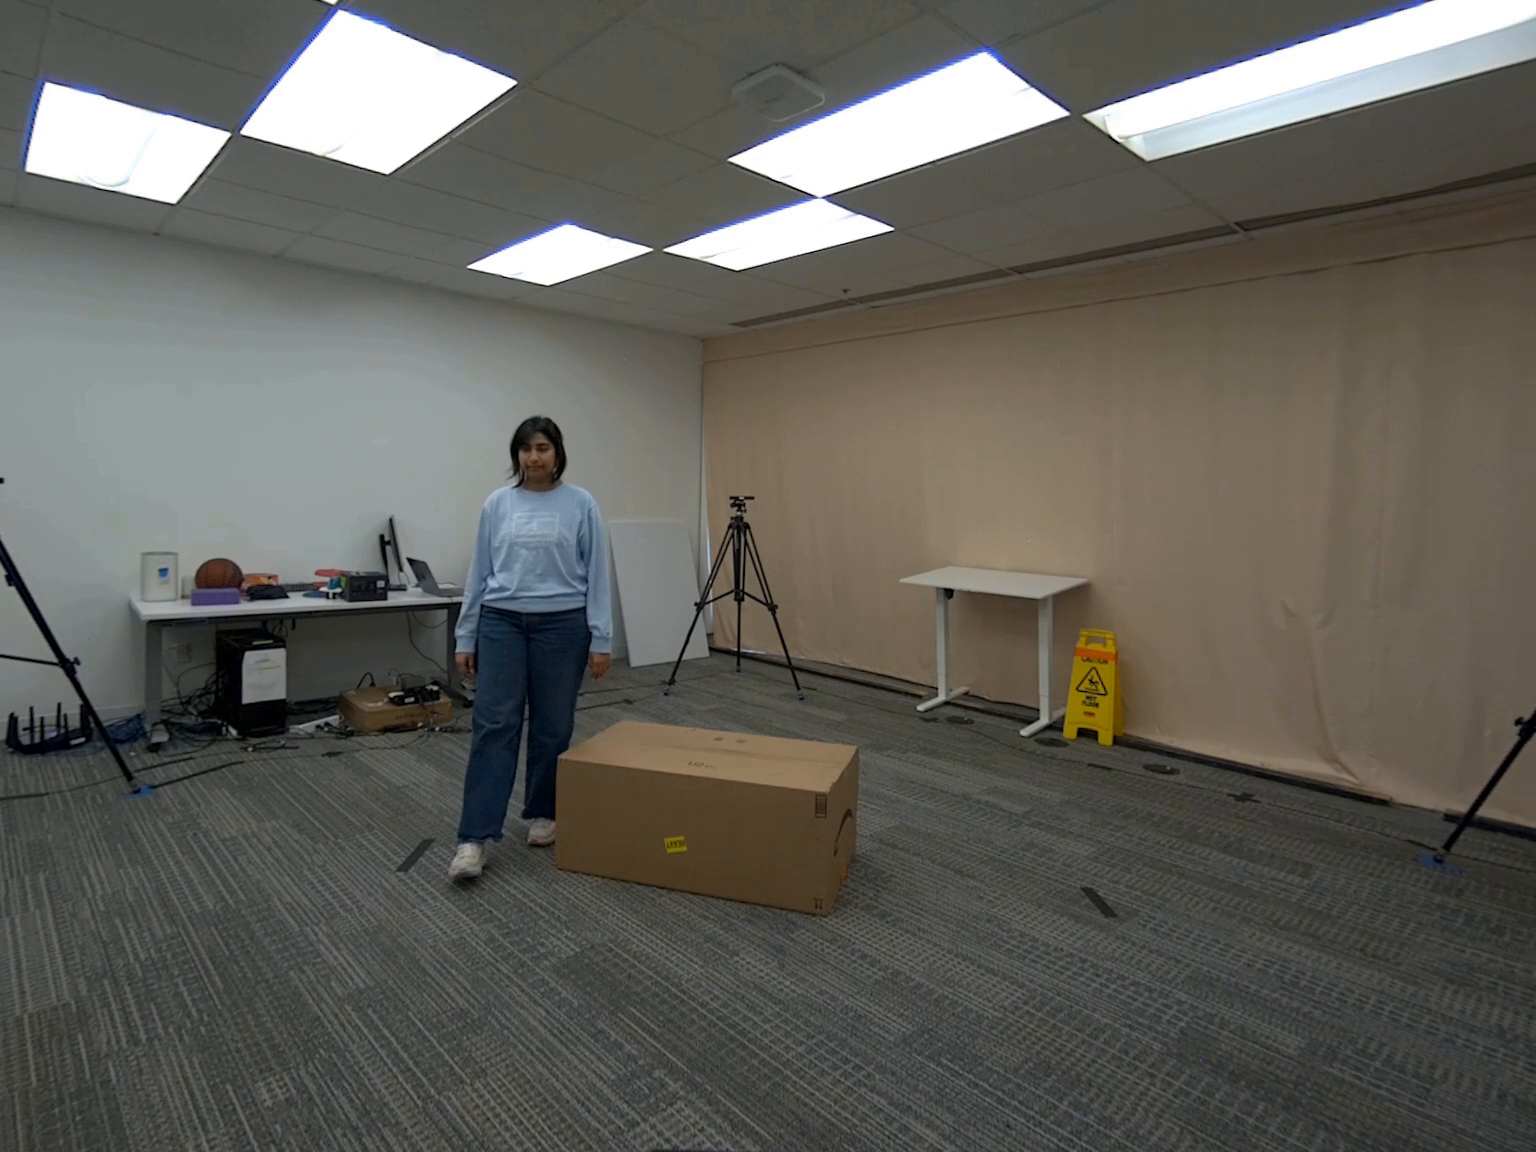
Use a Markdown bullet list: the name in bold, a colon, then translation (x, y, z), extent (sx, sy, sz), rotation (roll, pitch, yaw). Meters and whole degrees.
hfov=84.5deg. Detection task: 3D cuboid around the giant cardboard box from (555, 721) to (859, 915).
- **giant cardboard box**: translation (-0.217, 0.877, 3.214), extent (1.041, 0.425, 0.570), rotation (3, 4, 18)
